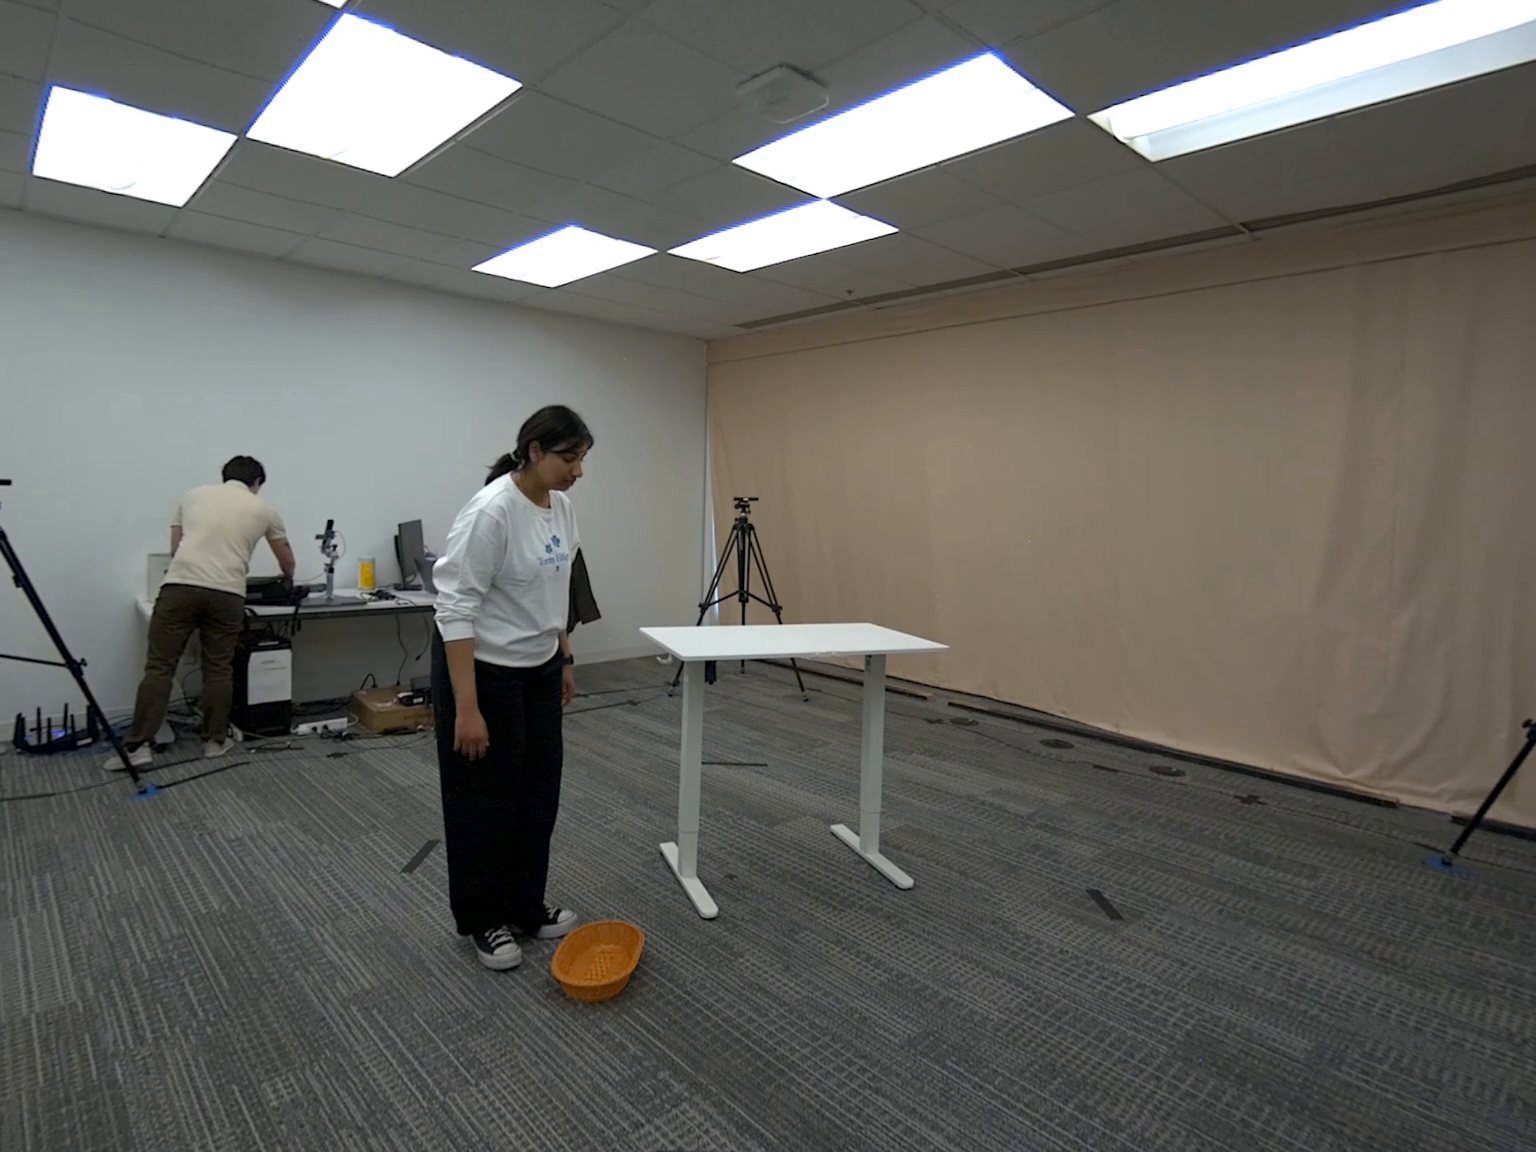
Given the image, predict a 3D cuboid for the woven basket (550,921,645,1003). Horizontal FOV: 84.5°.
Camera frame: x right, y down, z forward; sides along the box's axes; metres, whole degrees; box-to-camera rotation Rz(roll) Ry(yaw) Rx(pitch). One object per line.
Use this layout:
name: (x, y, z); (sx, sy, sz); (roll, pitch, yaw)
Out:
woven basket: (-0.499, 1.124, 2.442); (0.254, 0.073, 0.350); (0, 6, 6)
